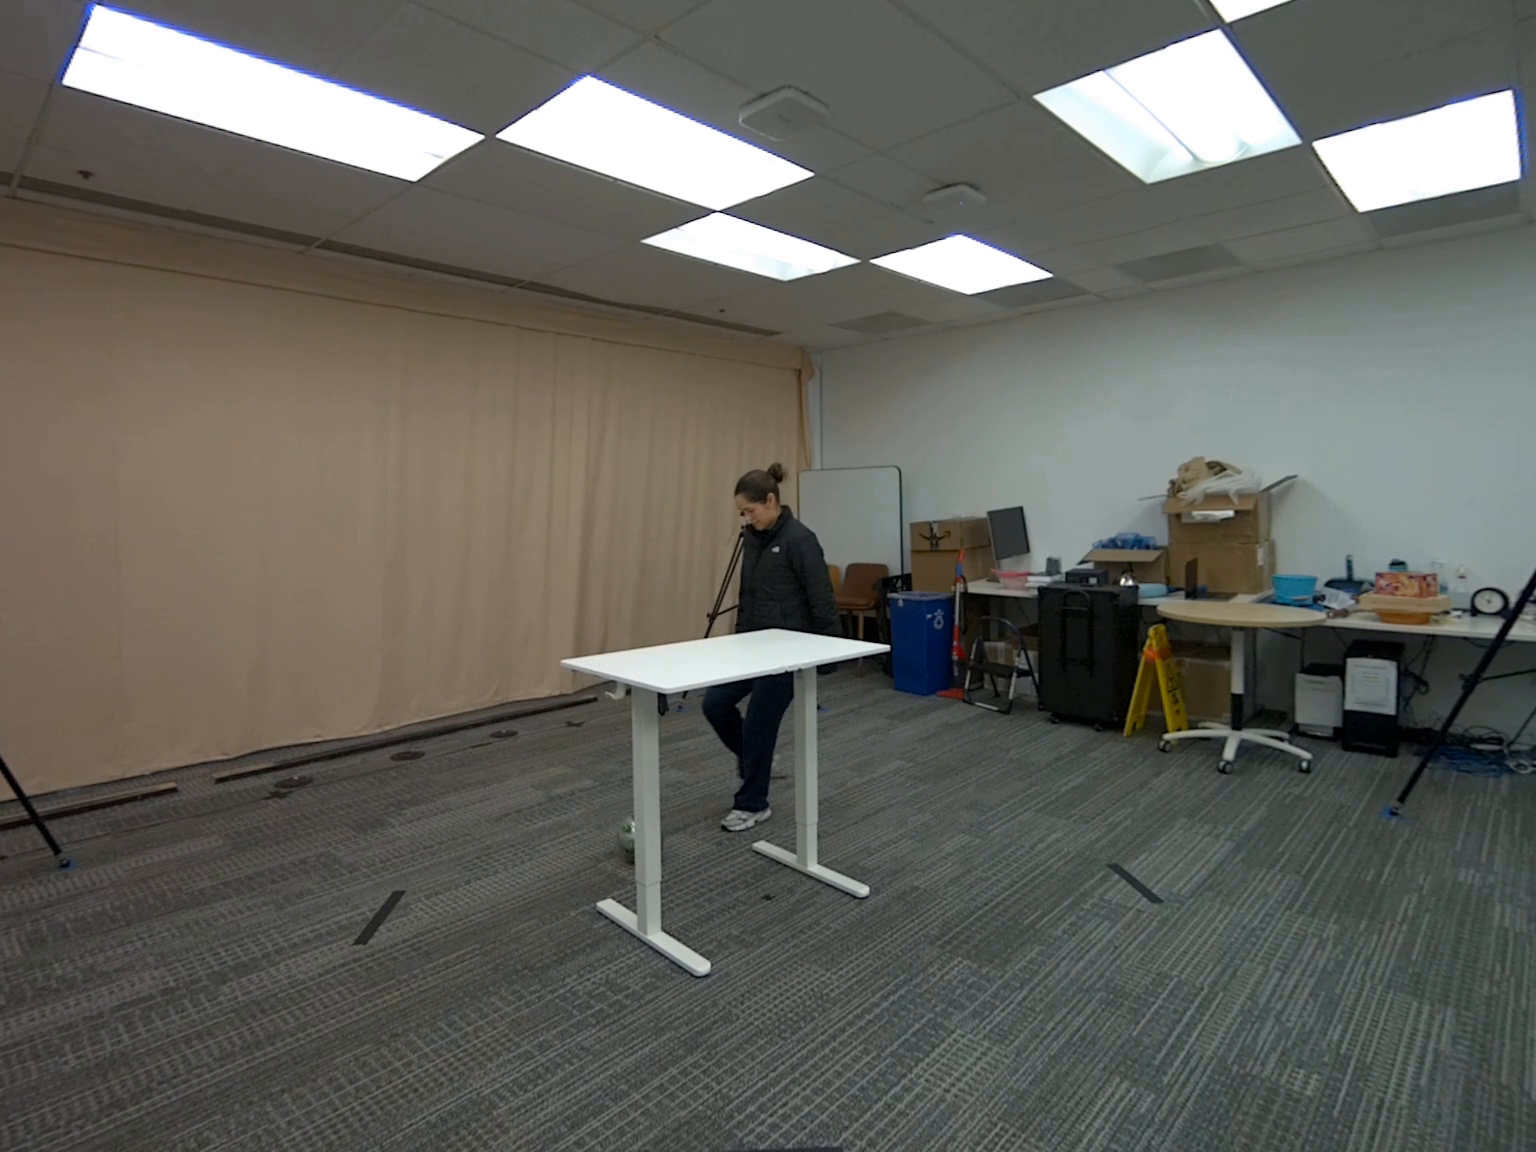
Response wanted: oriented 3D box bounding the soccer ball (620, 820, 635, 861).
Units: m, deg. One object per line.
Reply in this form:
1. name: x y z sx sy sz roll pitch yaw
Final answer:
1. soccer ball: -0.503 1.030 3.315 0.187 0.187 0.188 -1 4 -2
